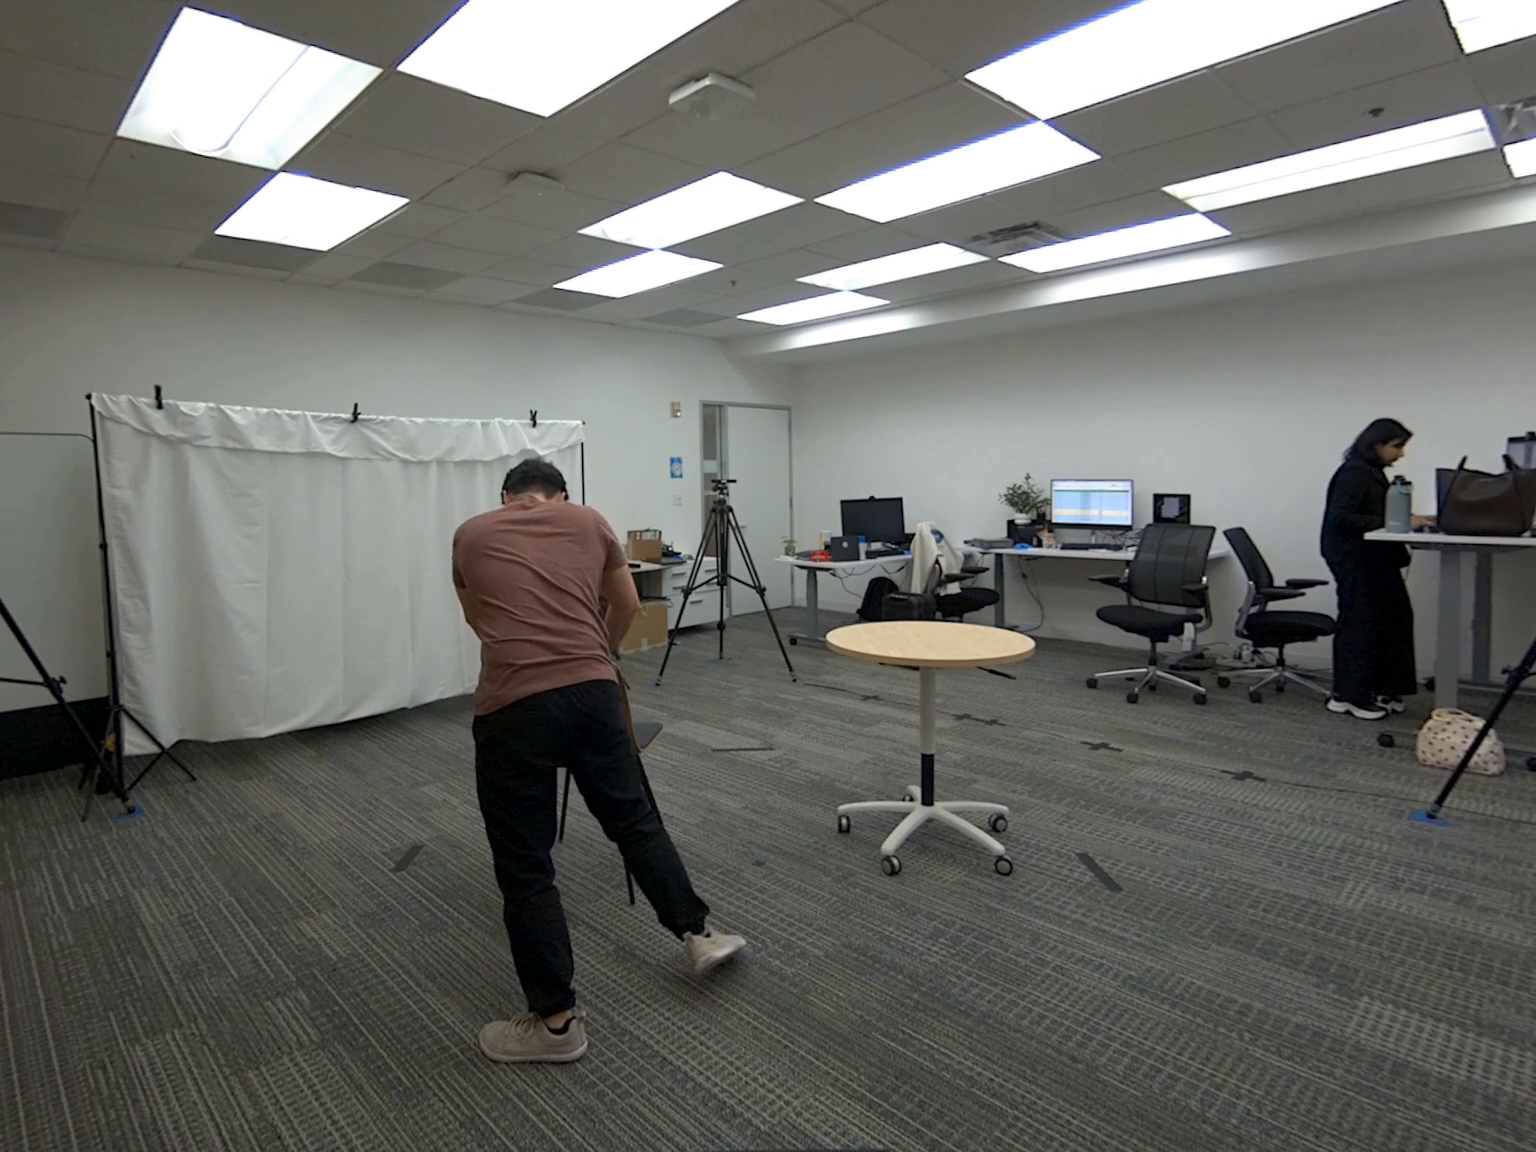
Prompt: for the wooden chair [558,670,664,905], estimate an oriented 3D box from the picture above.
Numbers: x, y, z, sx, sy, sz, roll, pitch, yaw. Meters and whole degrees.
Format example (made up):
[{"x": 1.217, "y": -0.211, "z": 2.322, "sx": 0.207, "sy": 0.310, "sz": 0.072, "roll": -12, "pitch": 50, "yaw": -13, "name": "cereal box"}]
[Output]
[{"x": -0.628, "y": 0.635, "z": 3.069, "sx": 0.483, "sy": 0.871, "sz": 0.521, "roll": 0, "pitch": 8, "yaw": 10, "name": "wooden chair"}]
